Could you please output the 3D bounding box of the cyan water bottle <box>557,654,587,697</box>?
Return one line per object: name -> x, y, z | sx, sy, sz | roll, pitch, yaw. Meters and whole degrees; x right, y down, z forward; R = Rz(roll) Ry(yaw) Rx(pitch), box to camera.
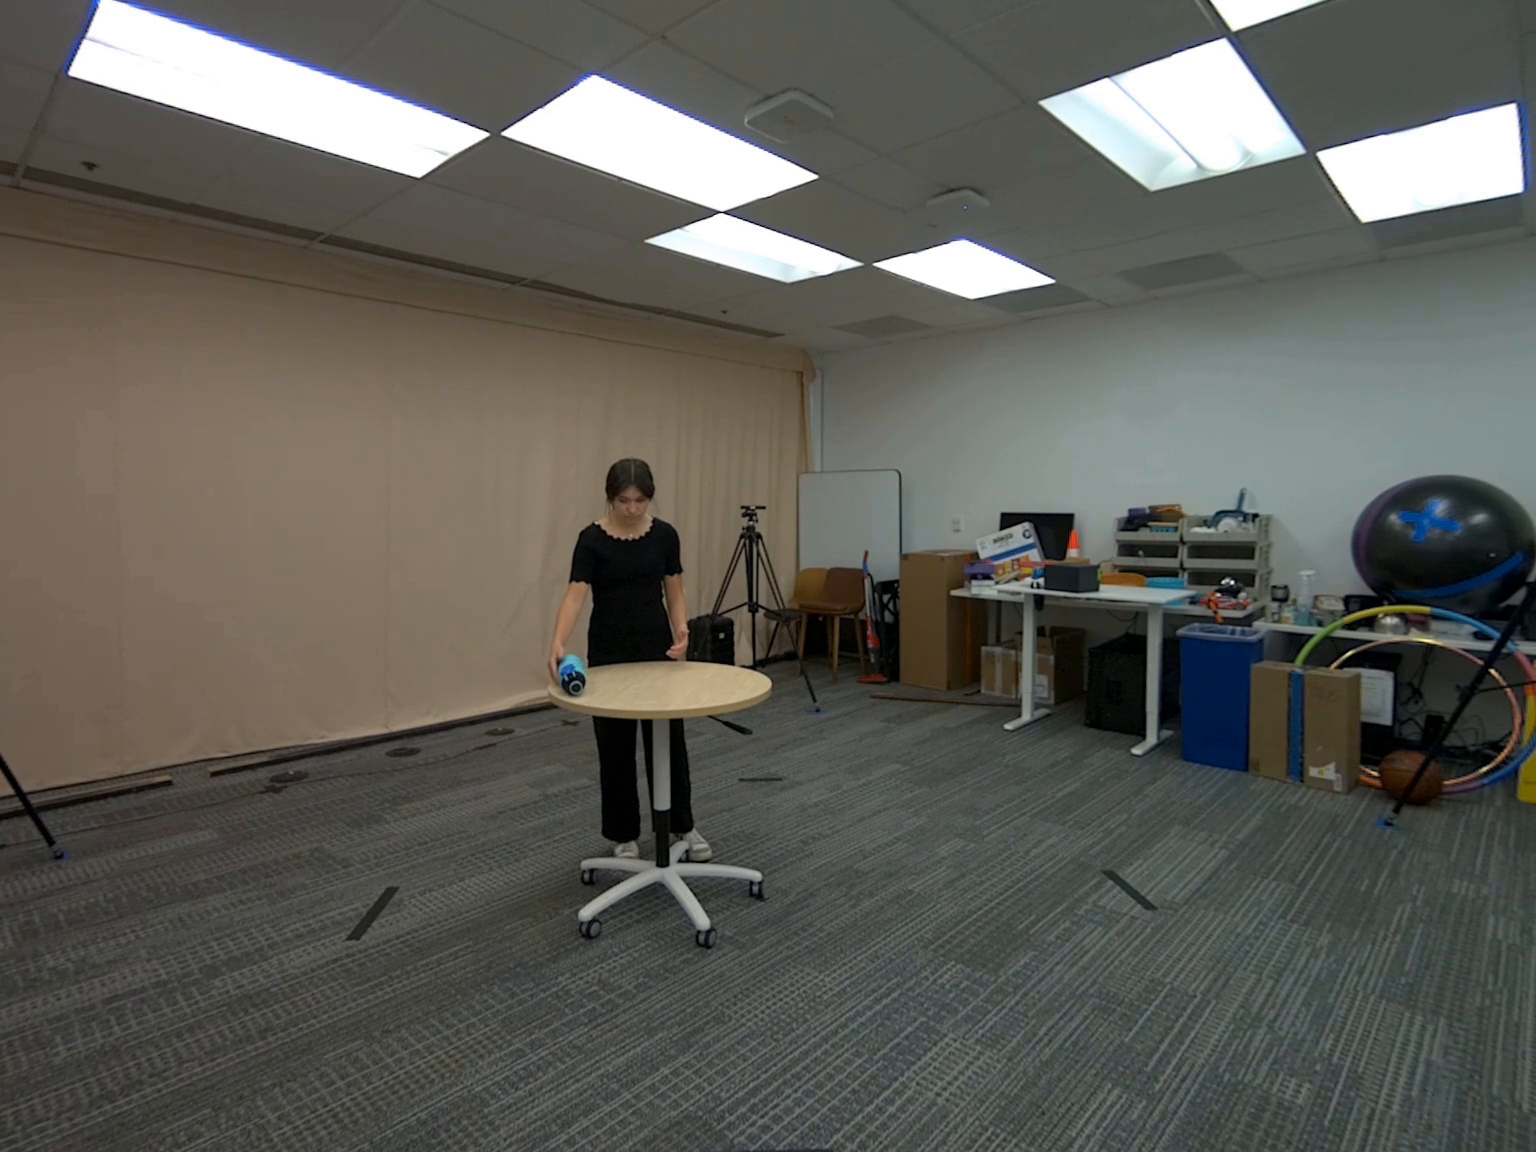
cyan water bottle -> -0.644, 0.330, 2.825 | 0.091, 0.092, 0.287 | -1, 4, -12
